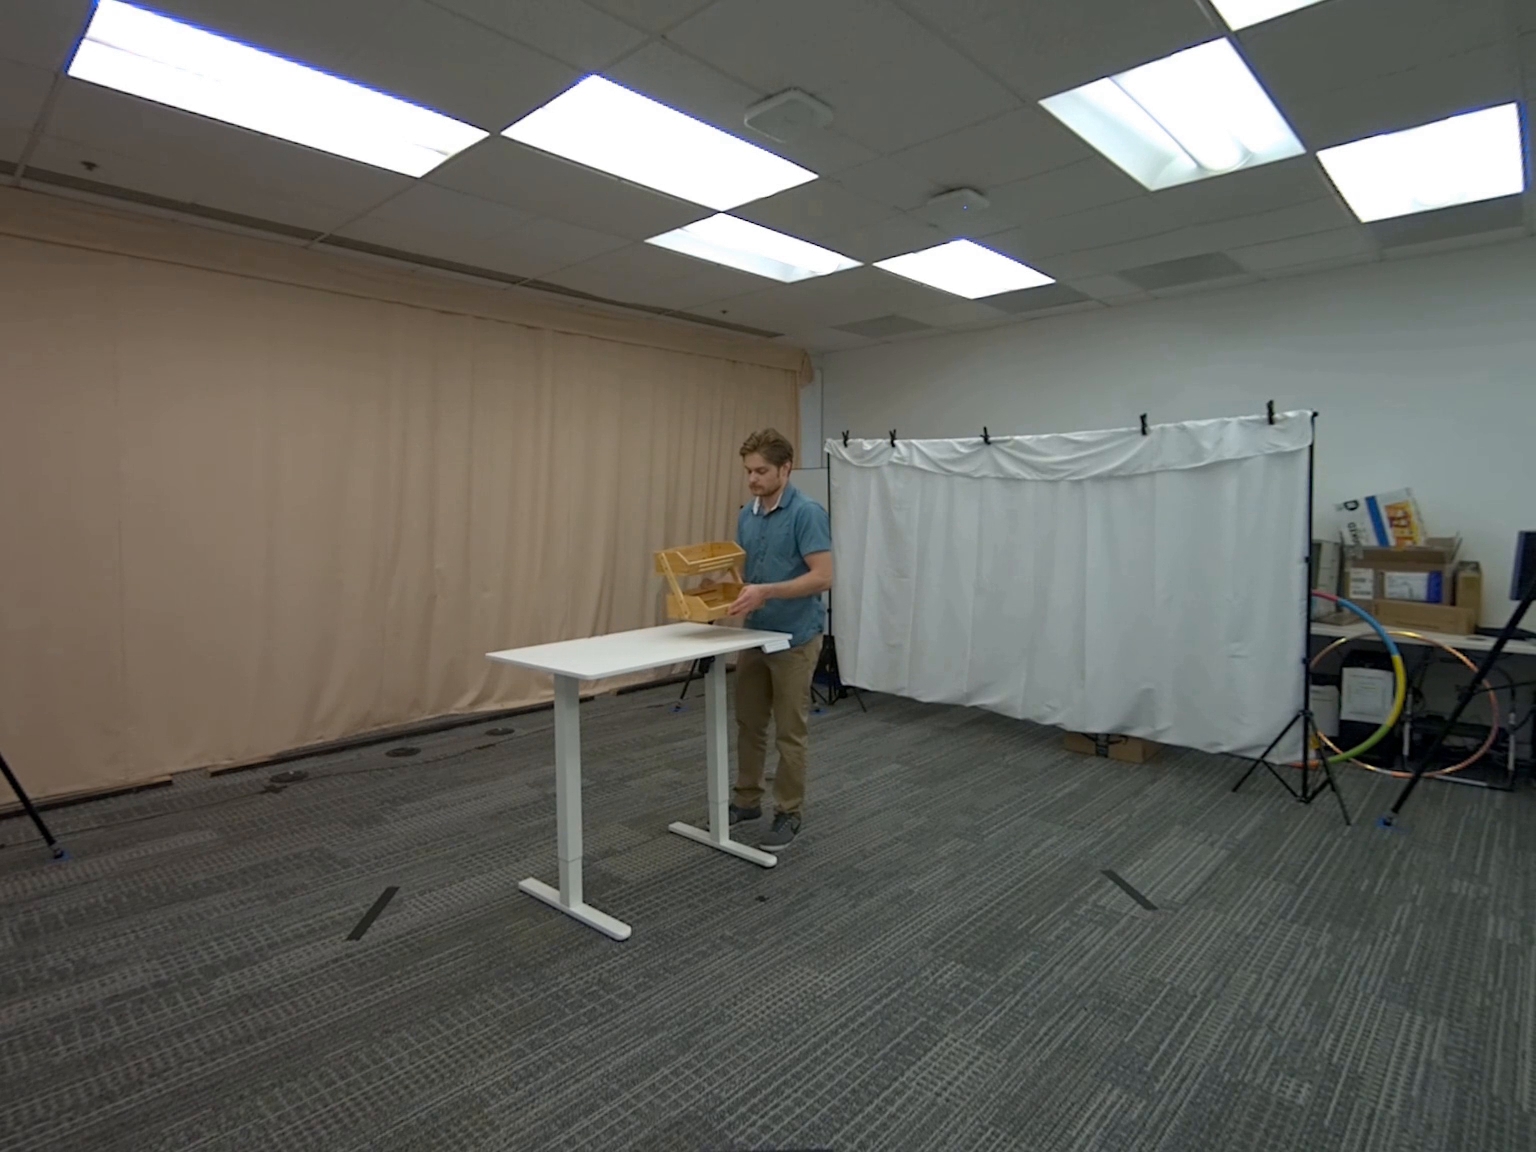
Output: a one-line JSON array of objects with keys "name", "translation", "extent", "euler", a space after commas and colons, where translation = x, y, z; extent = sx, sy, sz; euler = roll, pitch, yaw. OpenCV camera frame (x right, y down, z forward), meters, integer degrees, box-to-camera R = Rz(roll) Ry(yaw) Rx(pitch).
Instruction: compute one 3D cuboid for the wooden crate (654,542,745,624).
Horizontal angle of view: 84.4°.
[{"name": "wooden crate", "translation": [-0.232, 0.013, 3.317], "extent": [0.315, 0.272, 0.312], "euler": [-11, 9, -41]}]
